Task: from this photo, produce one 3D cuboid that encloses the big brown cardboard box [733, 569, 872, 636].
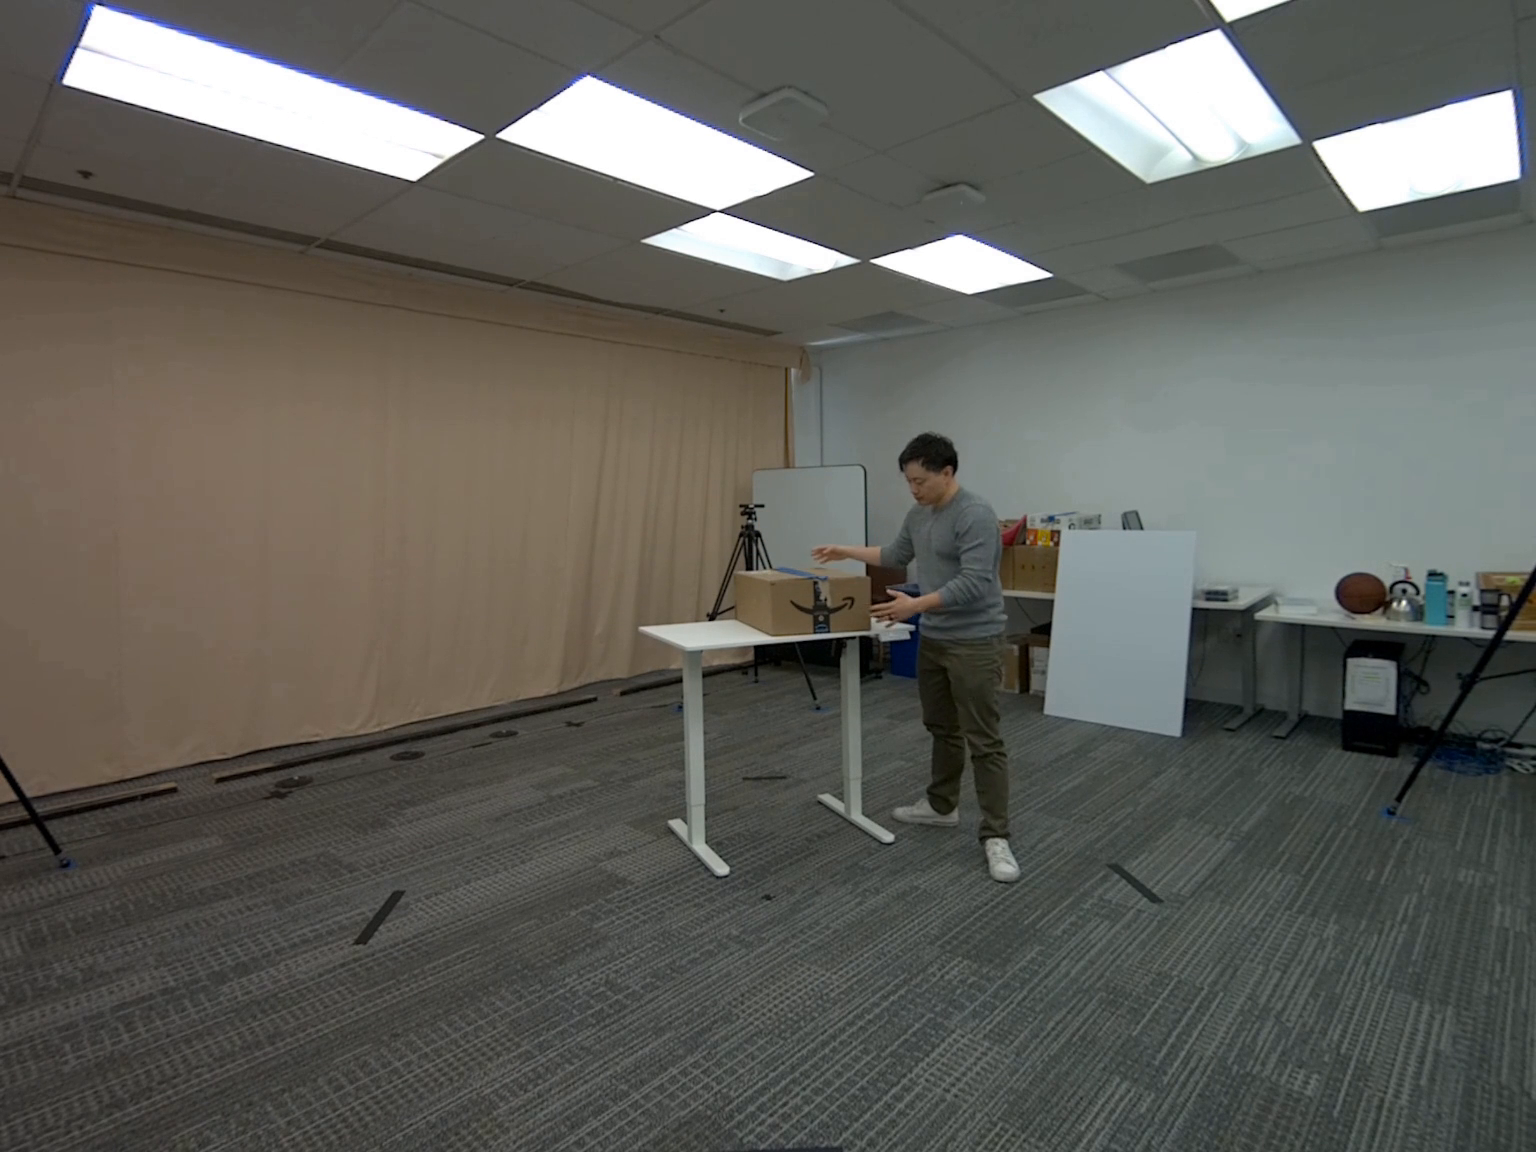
[{"bbox_3d":[0.125,0.098,3.569,0.411,0.232,0.600,-2,5,-17],"label":"big brown cardboard box"}]
